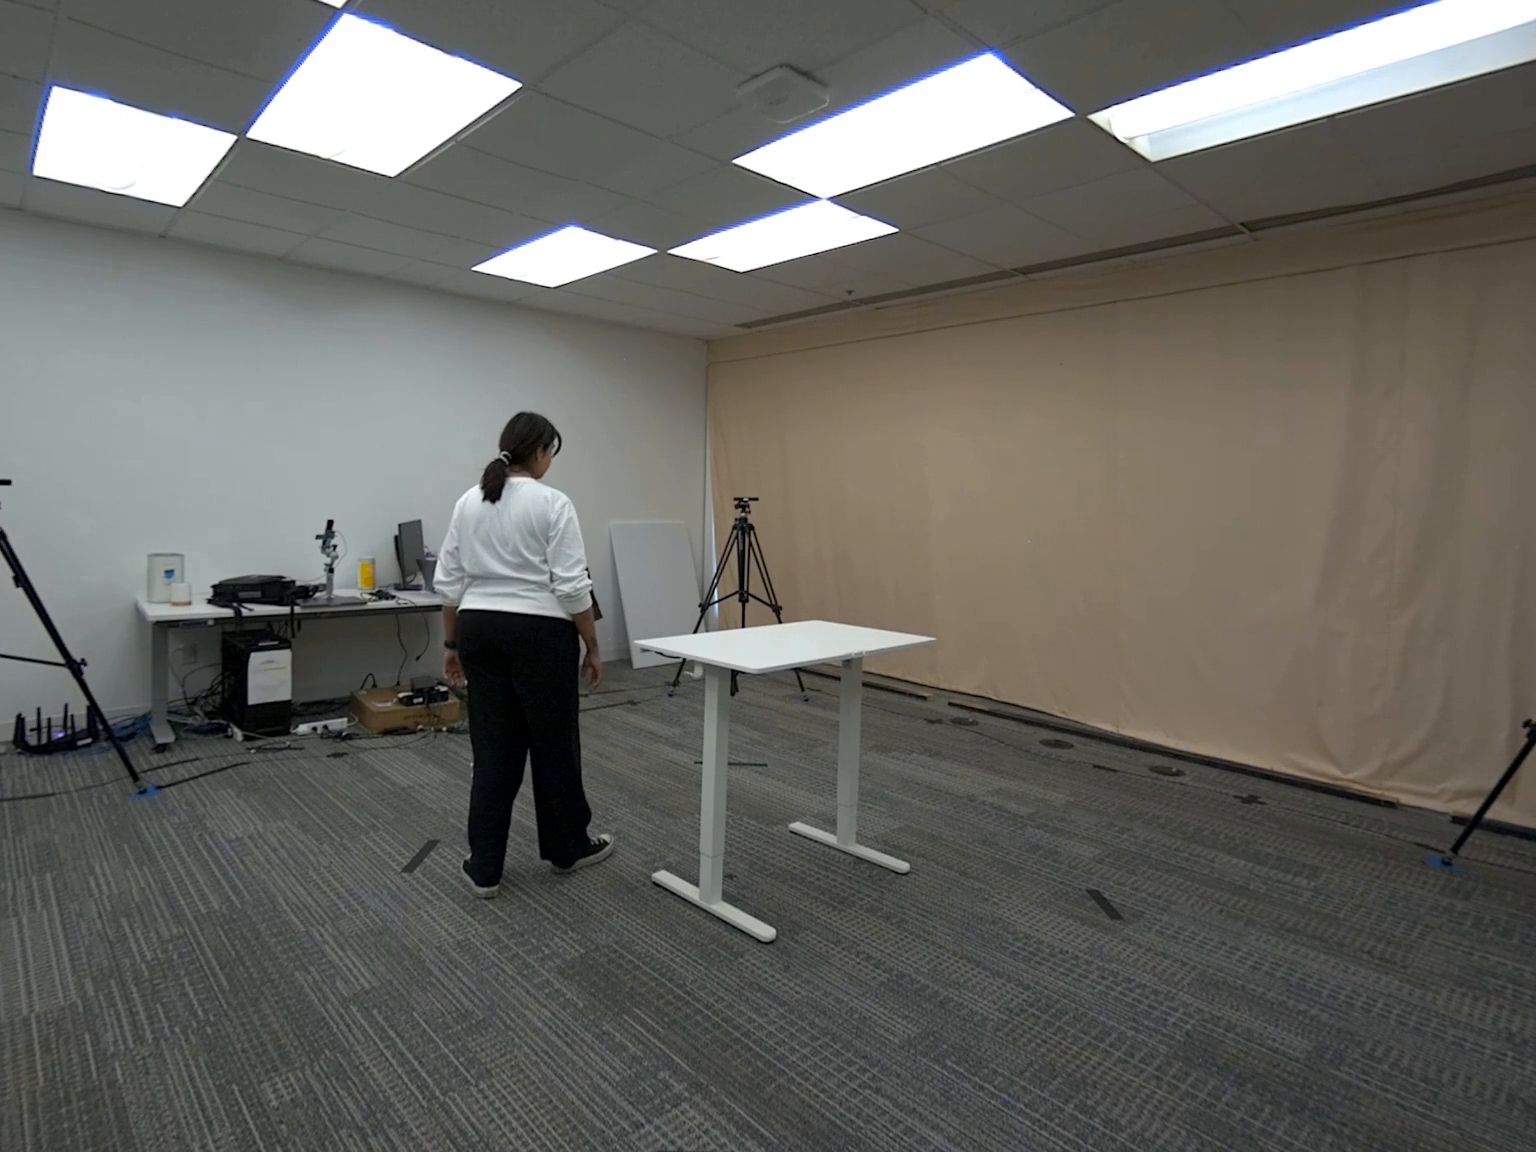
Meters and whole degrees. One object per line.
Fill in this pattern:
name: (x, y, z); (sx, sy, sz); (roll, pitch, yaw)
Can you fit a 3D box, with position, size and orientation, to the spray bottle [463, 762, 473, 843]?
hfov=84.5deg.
spray bottle: (-1.176, 0.916, 3.435); (0.090, 0.296, 0.087); (0, 4, -2)
